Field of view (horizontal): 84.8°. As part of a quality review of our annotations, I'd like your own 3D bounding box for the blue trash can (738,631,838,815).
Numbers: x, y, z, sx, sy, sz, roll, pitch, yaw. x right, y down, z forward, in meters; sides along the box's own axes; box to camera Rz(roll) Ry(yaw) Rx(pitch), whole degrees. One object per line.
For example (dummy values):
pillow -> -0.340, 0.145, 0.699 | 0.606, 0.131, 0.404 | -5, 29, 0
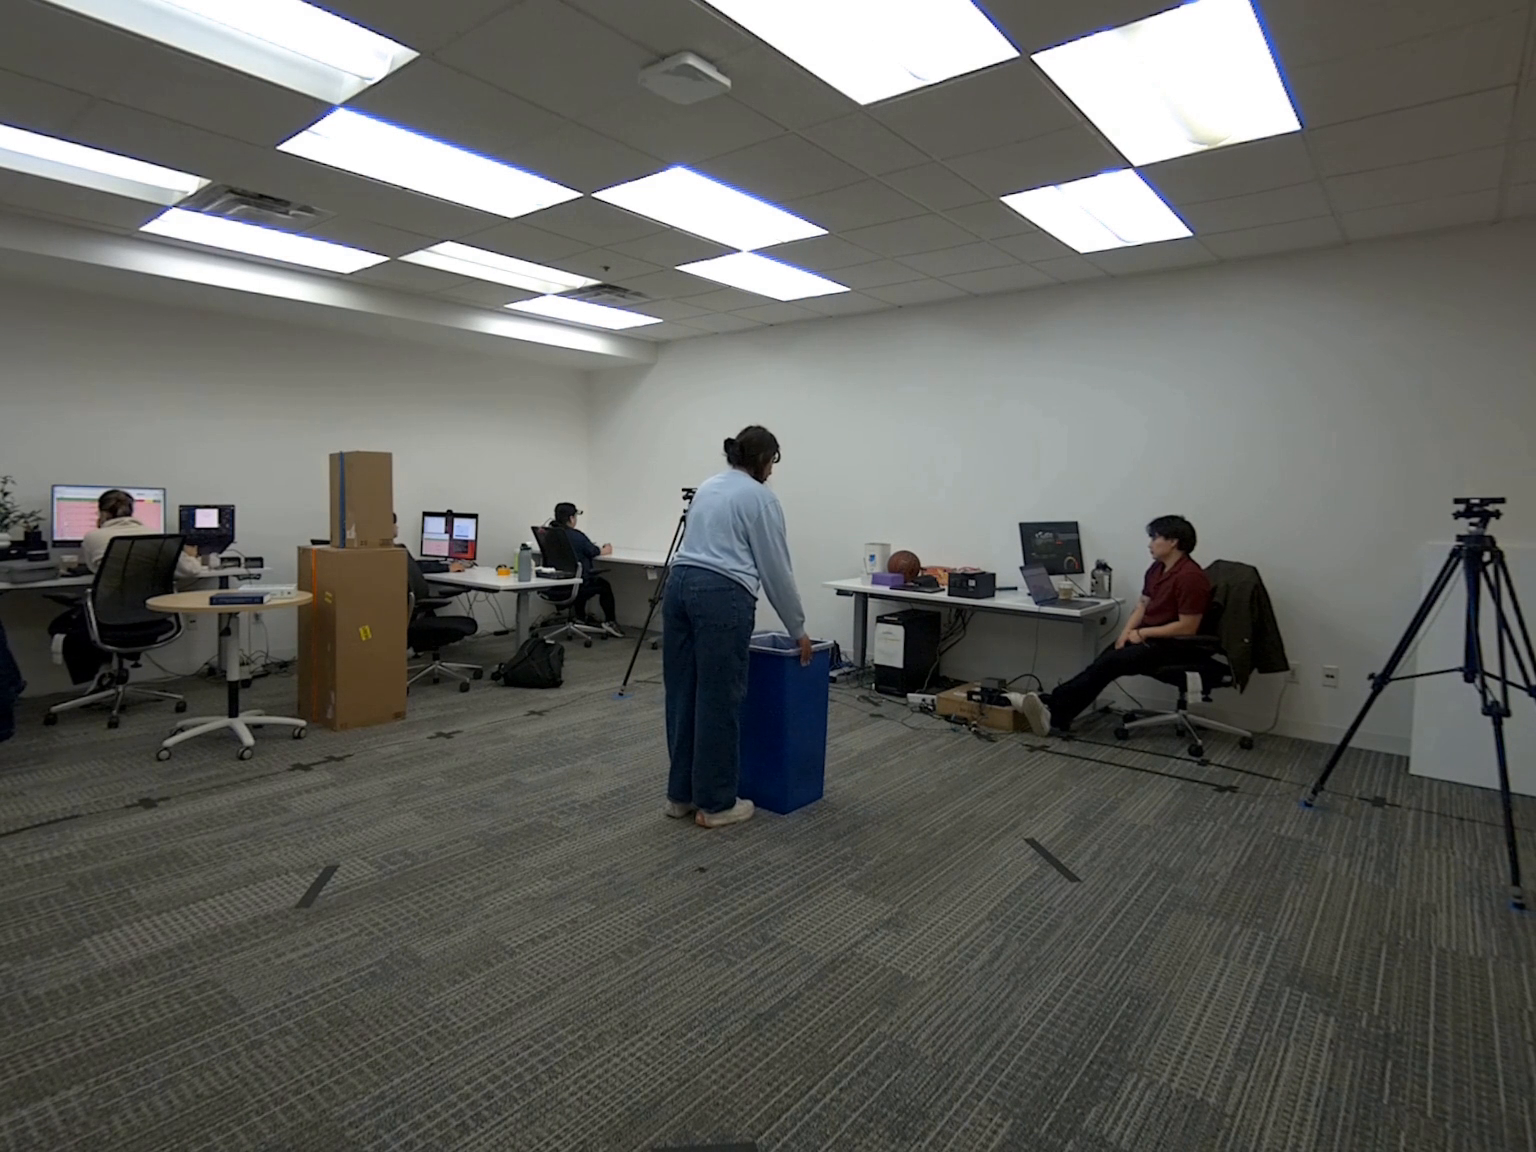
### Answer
blue trash can -> 0.036, 0.646, 3.843 | 0.386, 0.712, 0.366 | 4, 4, 39
